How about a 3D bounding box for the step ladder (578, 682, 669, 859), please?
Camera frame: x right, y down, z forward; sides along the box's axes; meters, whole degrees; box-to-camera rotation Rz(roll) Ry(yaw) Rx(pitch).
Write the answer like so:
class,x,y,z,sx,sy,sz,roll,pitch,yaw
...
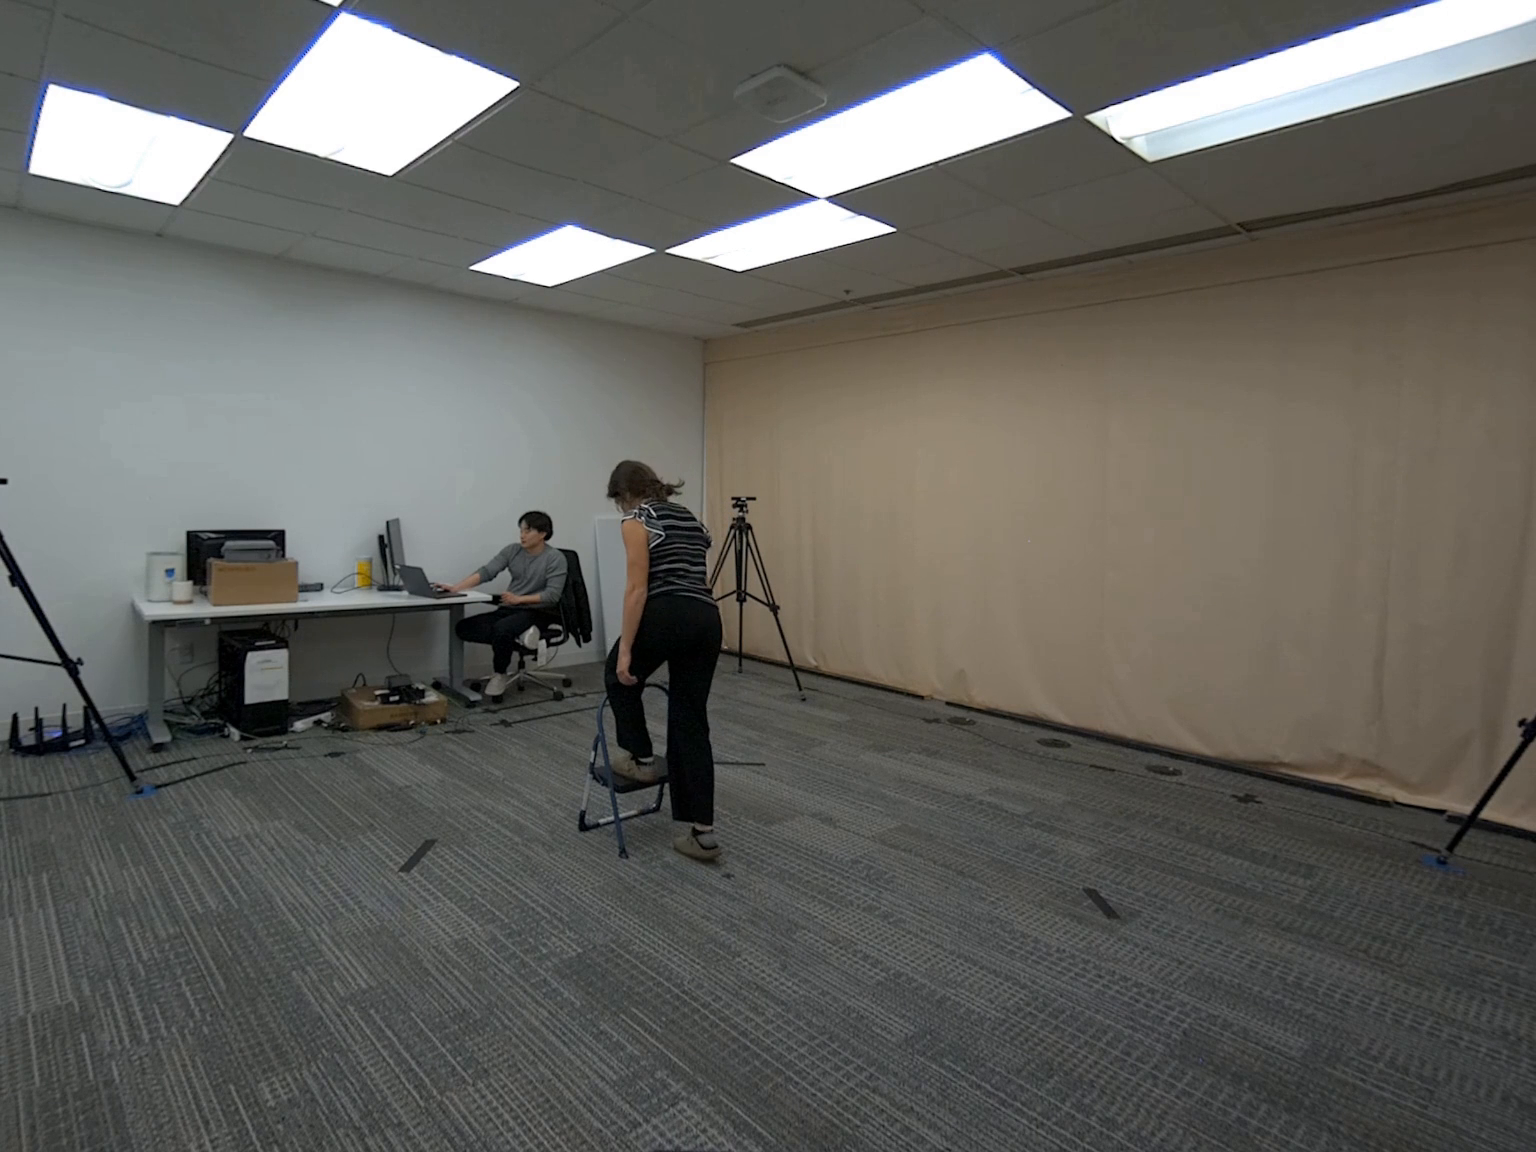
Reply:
class,x,y,z,sx,sy,sz,roll,pitch,yaw
step ladder,-0.522,0.765,3.487,0.420,0.605,0.358,-1,5,-43
